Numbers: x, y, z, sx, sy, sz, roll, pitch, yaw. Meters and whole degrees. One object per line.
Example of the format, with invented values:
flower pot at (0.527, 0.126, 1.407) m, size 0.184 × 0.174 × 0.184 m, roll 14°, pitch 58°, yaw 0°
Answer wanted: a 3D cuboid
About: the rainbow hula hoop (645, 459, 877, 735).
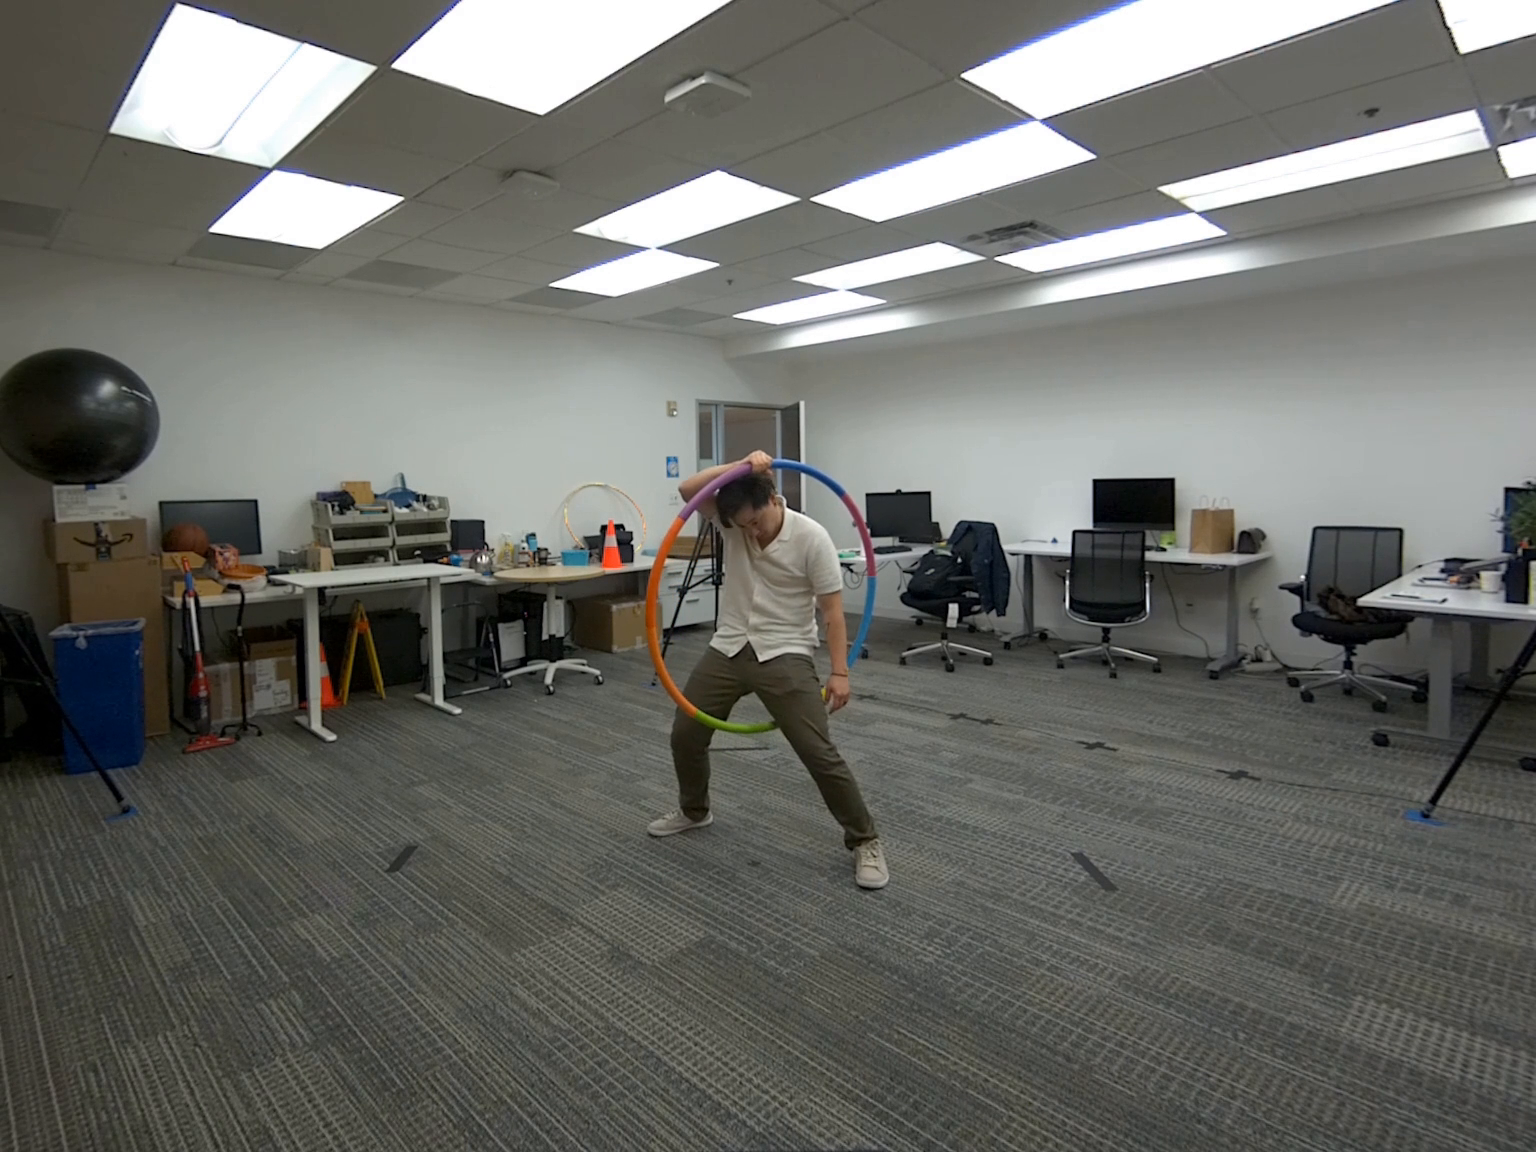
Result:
rainbow hula hoop at (0.004, 0.075, 3.055) m, size 0.955 × 0.971 × 0.037 m, roll -4°, pitch 10°, yaw -32°
